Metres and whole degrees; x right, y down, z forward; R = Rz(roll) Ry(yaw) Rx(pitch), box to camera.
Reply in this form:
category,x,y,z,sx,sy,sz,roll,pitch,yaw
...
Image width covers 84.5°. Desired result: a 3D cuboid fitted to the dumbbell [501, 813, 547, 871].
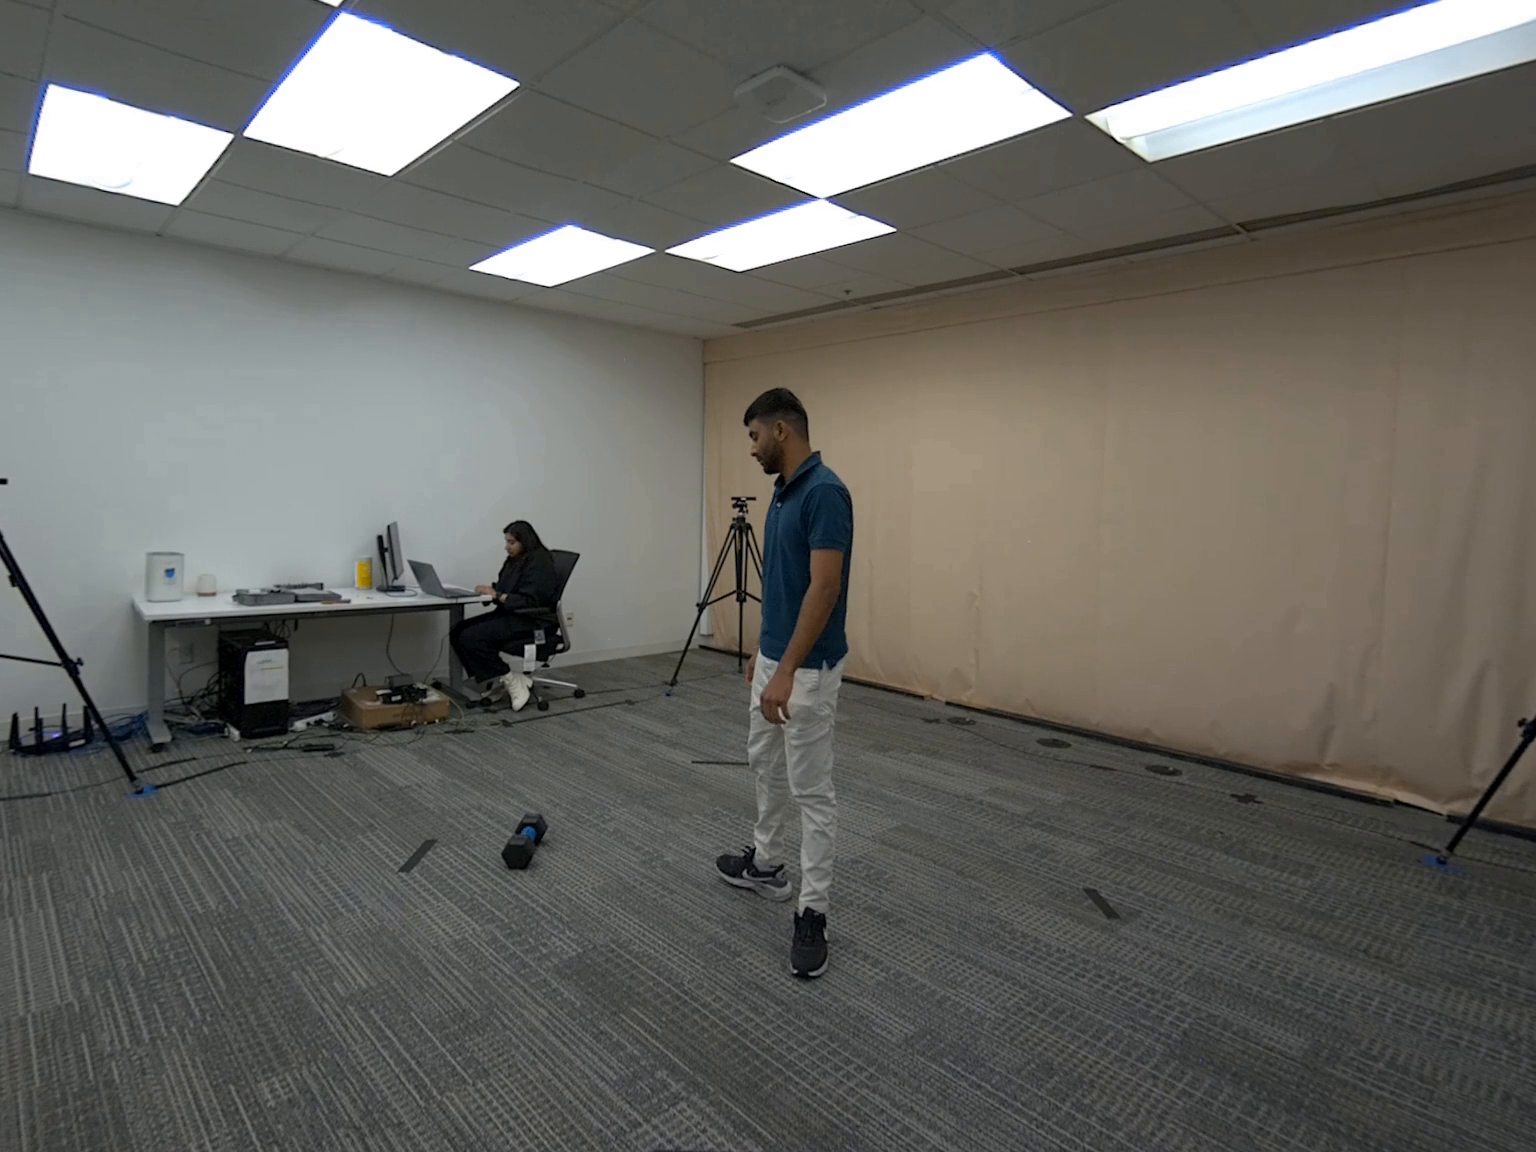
category,x,y,z,sx,sy,sz,roll,pitch,yaw
dumbbell,-0.944,1.022,3.252,0.108,0.123,0.295,33,3,-5
